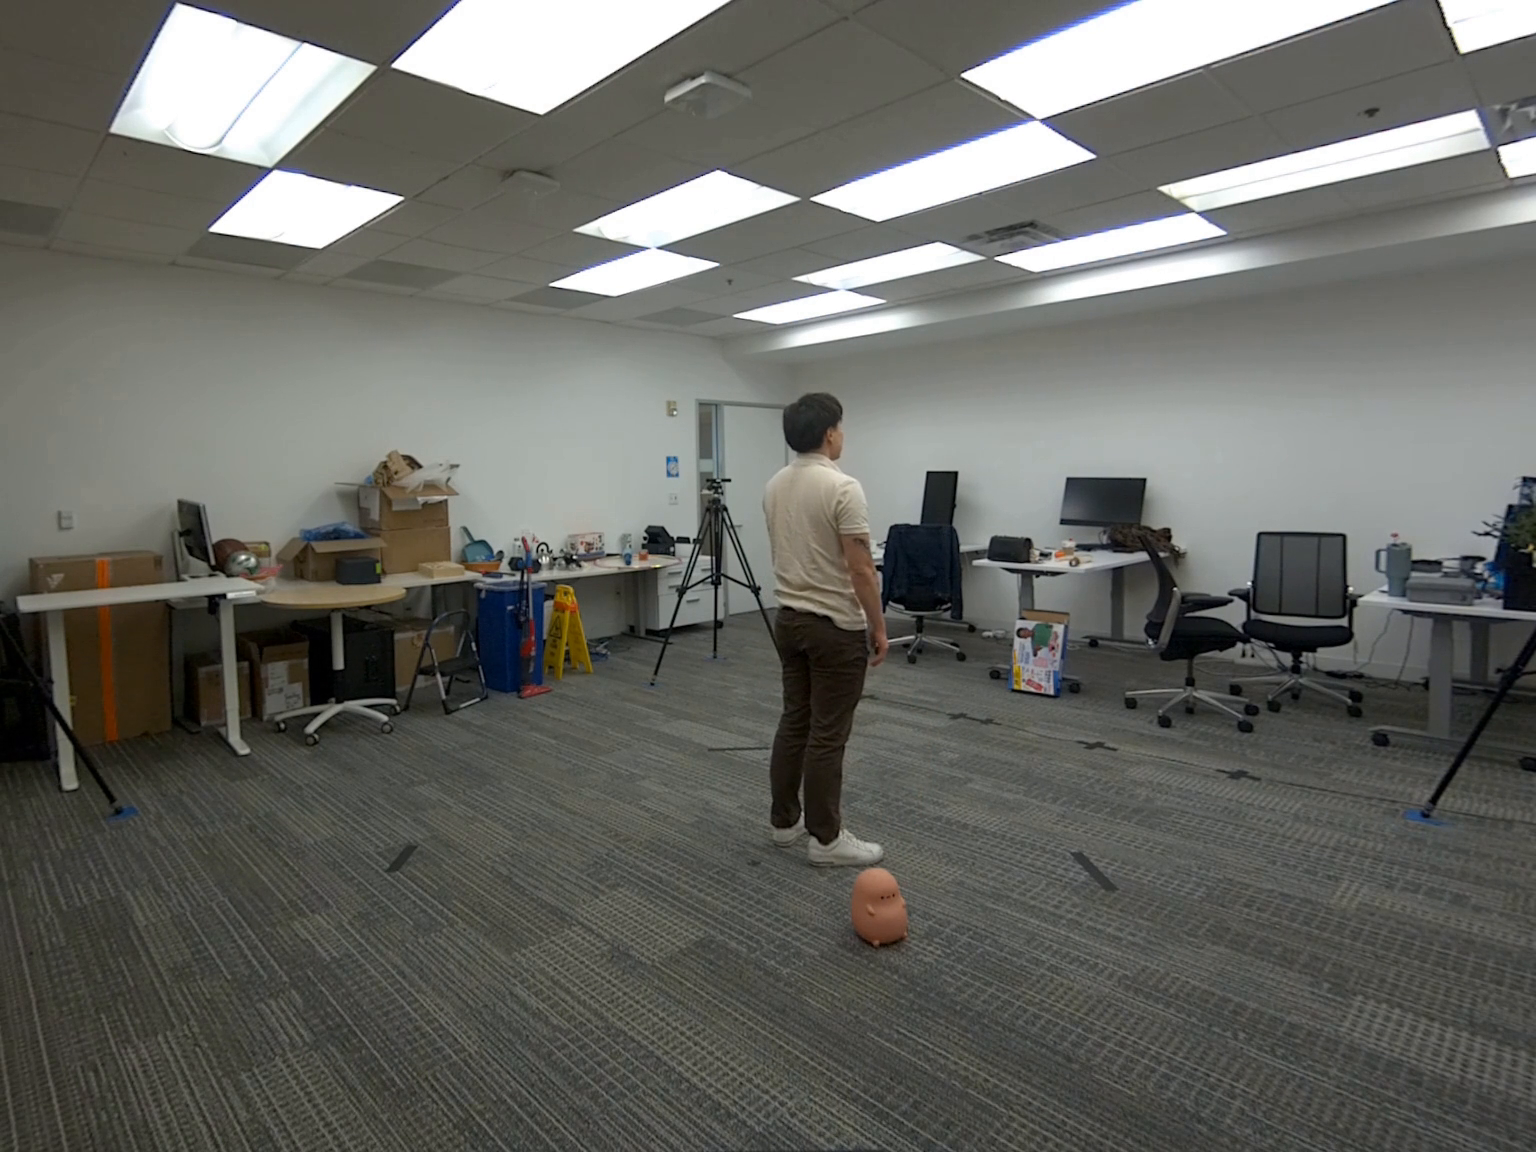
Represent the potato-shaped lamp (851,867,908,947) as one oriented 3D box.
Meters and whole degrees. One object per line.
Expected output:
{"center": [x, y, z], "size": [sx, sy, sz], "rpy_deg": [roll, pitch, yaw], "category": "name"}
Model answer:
{"center": [0.341, 0.993, 2.609], "size": [0.162, 0.198, 0.175], "rpy_deg": [-4, 2, -22], "category": "potato-shaped lamp"}
